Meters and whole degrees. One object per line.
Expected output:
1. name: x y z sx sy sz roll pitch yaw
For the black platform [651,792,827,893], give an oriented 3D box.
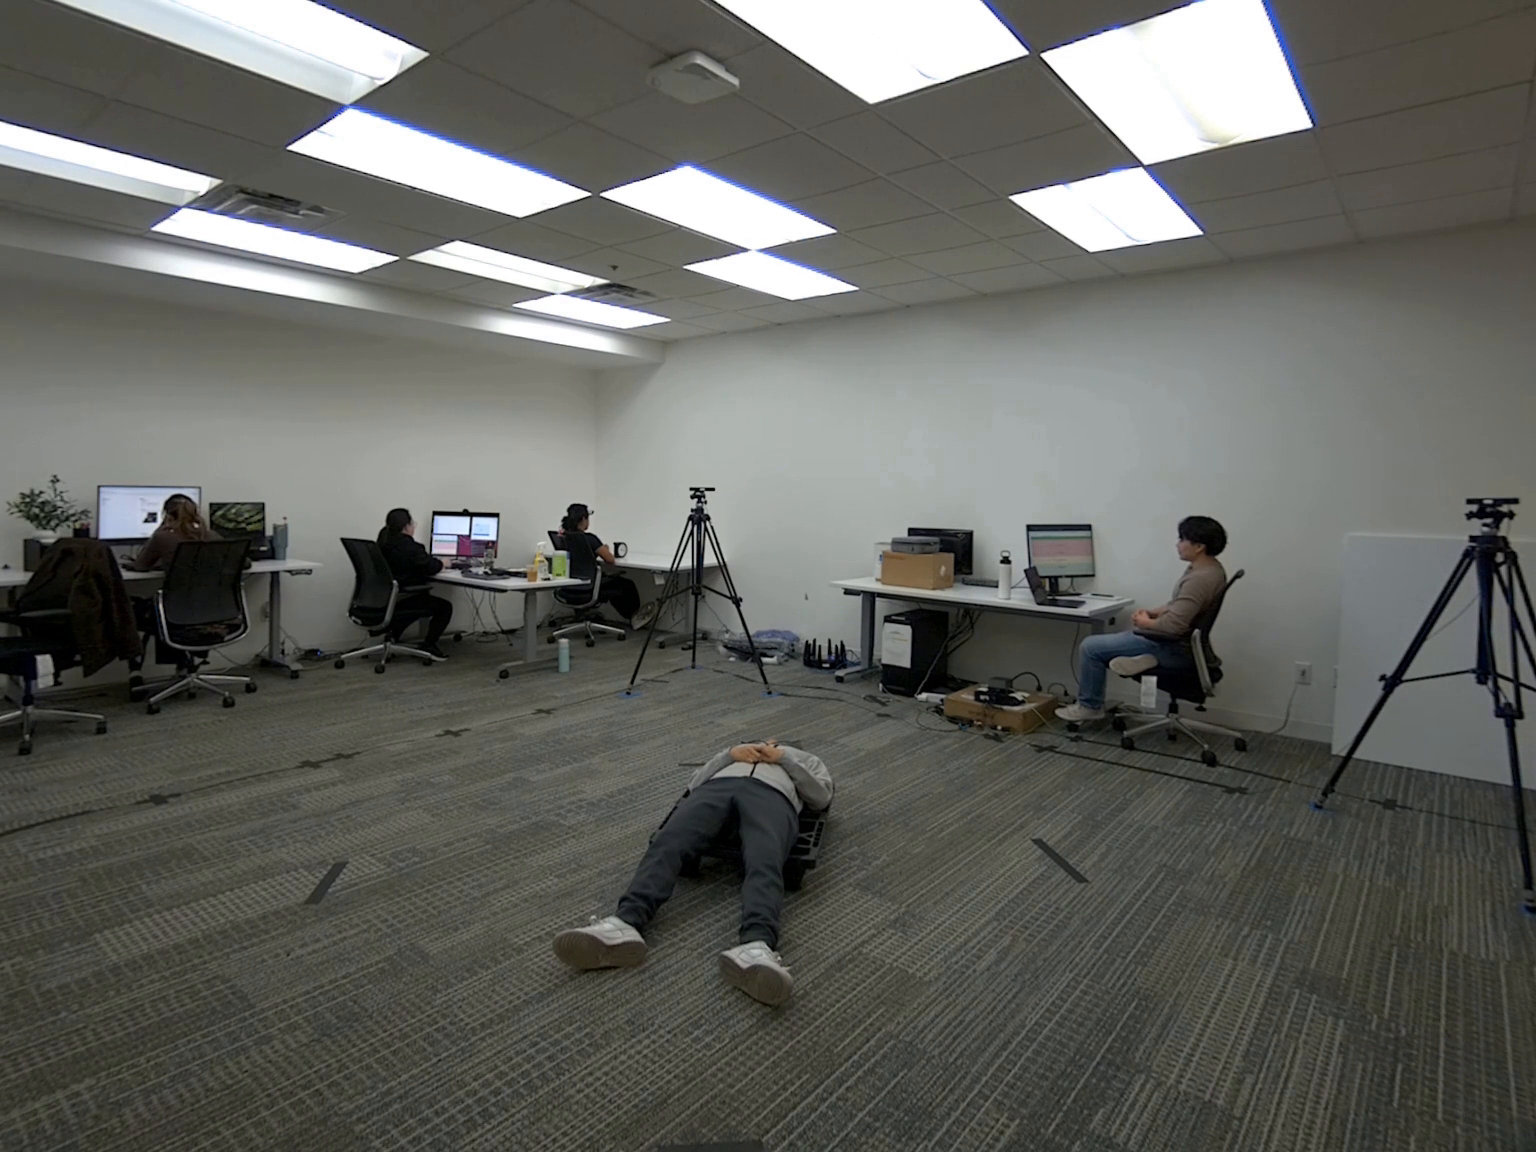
1. black platform: -0.078 0.975 3.349 0.614 0.143 0.796 2 4 11
